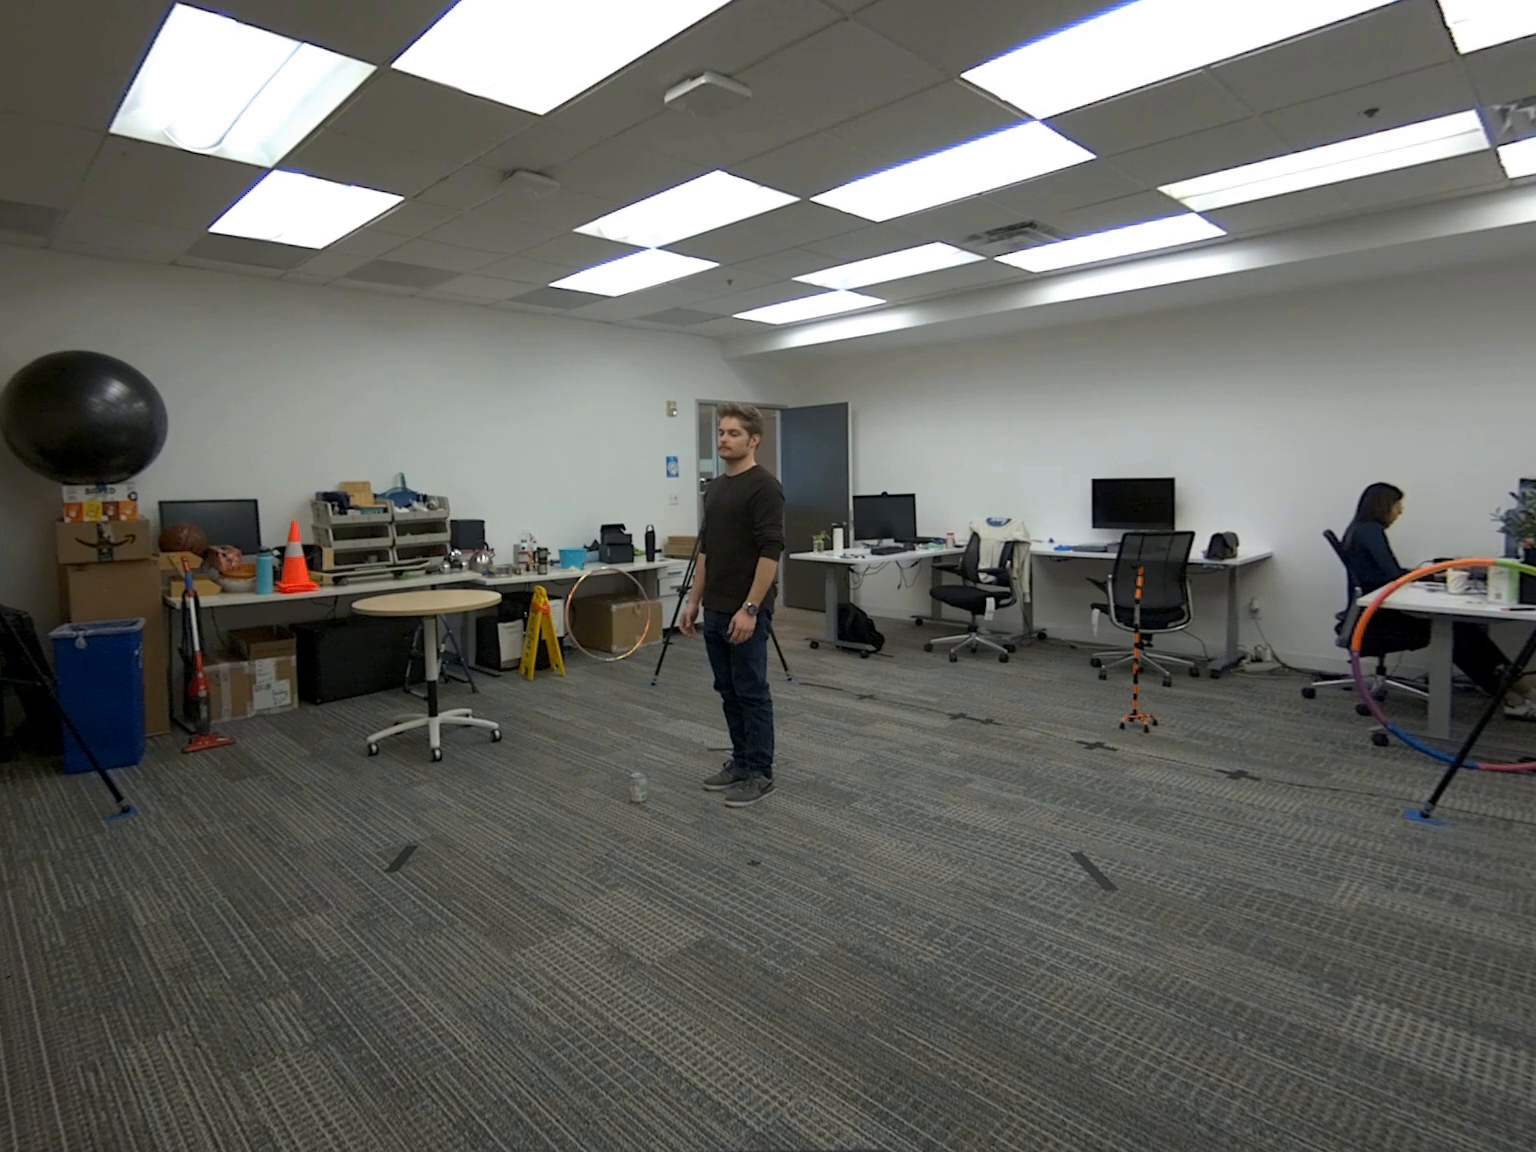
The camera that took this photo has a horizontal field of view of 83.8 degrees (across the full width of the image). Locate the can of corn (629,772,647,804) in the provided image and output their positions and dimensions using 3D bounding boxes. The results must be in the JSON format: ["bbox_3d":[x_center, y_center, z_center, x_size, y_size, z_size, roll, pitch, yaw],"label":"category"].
[{"bbox_3d":[-0.568,0.932,3.744,0.074,0.111,0.074,-2,4,-2],"label":"can of corn"}]
